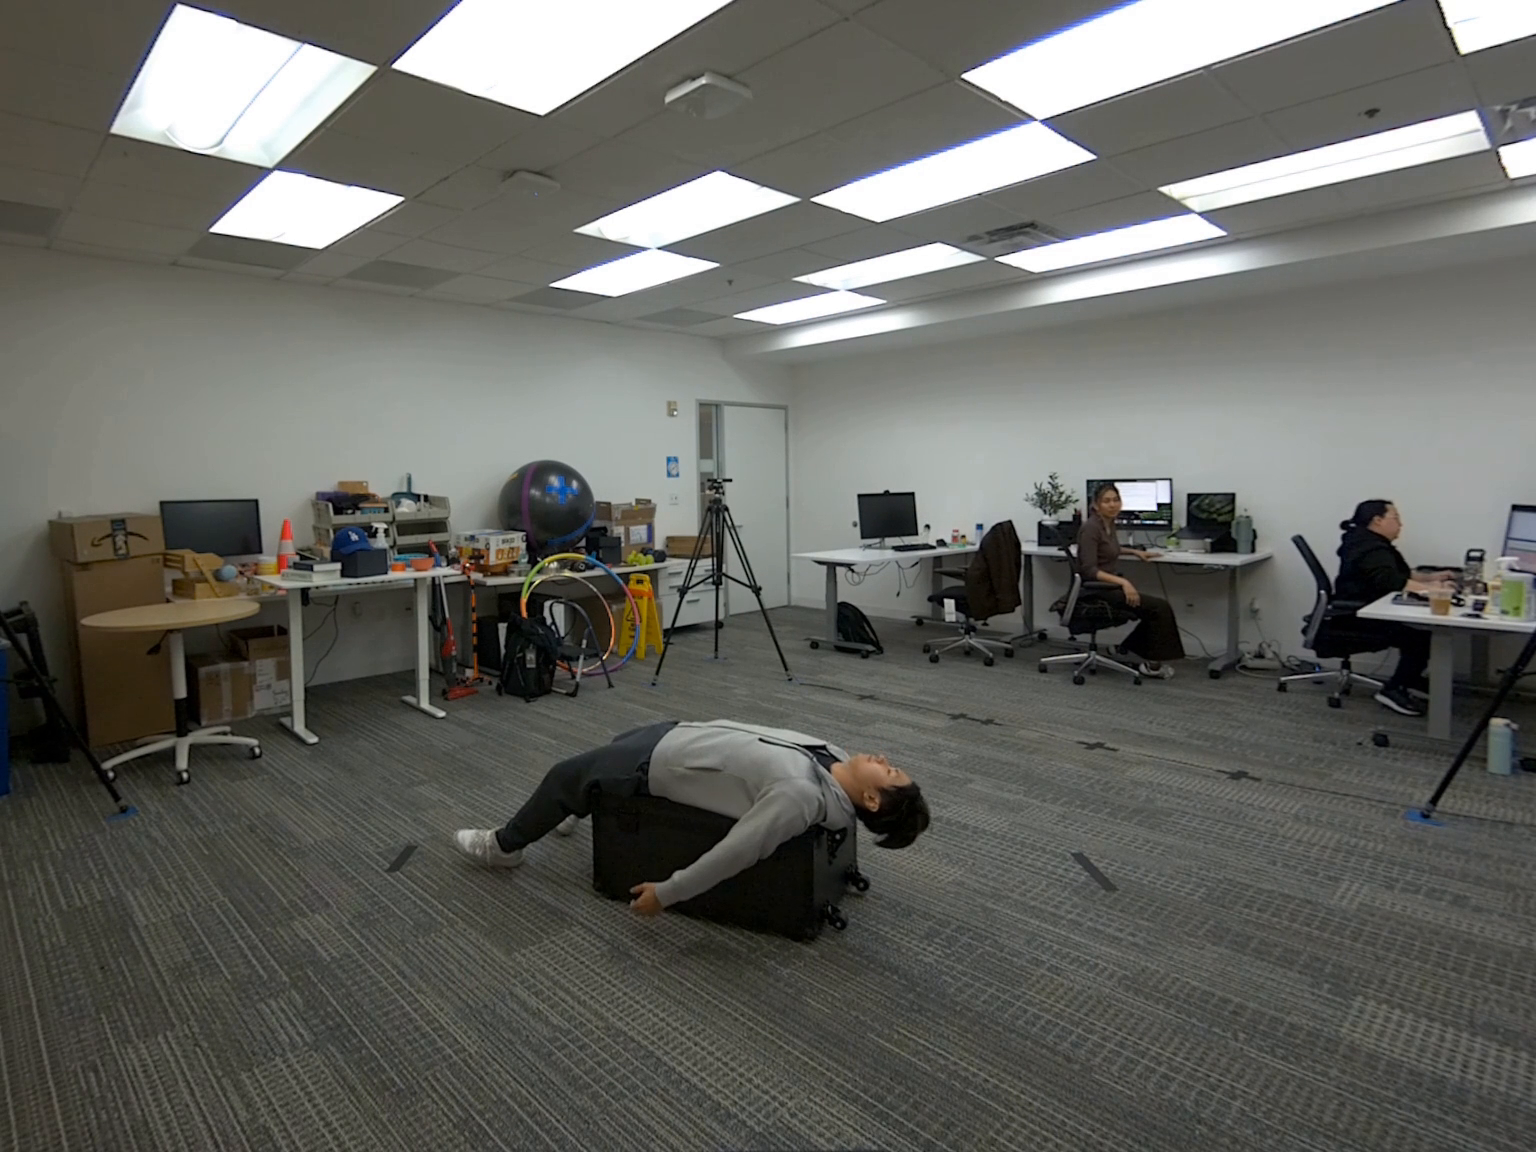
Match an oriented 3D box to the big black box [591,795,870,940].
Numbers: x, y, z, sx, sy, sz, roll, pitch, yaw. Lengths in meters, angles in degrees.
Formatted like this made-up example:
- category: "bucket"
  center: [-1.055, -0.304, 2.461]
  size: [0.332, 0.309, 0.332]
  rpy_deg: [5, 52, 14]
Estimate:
- category: "big black box"
  center: [-0.164, 0.881, 2.931]
  size: [0.881, 0.395, 0.511]
  rpy_deg: [2, 6, 25]
